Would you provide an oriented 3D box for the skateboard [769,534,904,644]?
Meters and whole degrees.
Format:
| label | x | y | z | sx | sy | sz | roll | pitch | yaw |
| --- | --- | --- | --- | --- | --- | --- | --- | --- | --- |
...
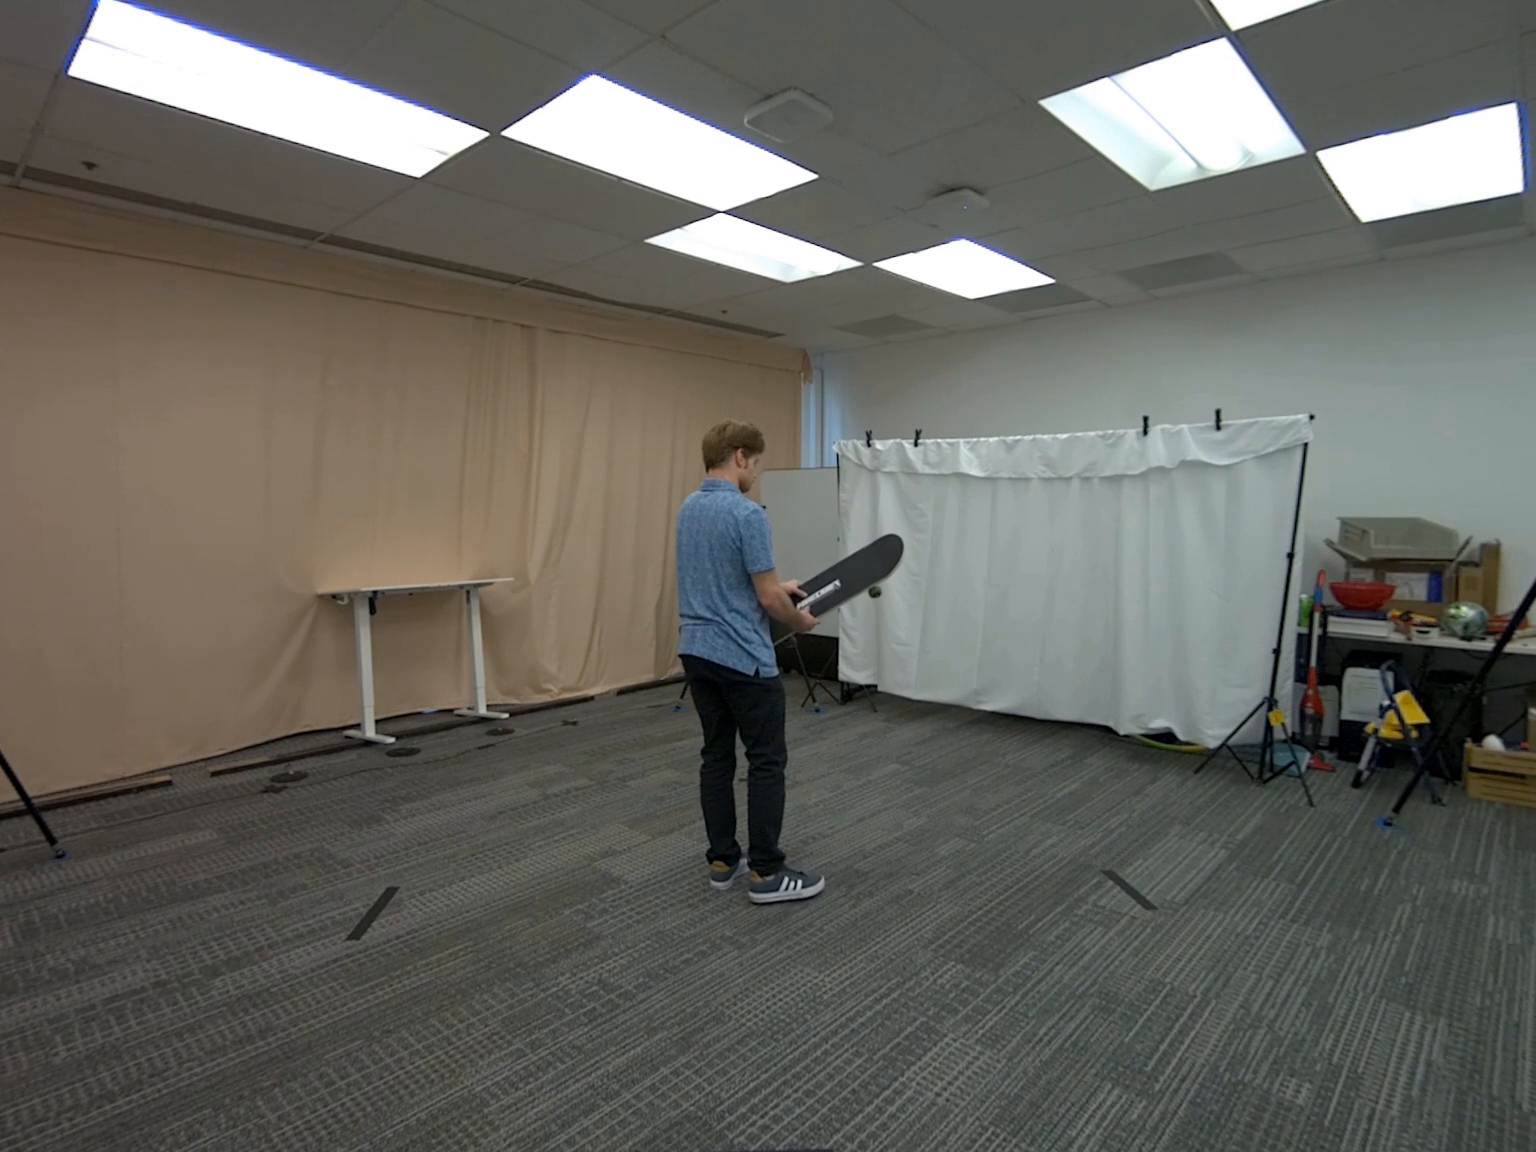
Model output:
| label | x | y | z | sx | sy | sz | roll | pitch | yaw |
| --- | --- | --- | --- | --- | --- | --- | --- | --- | --- |
| skateboard | 0.217 | 0.092 | 3.315 | 0.793 | 0.198 | 0.106 | -34 | -46 | 19 |
